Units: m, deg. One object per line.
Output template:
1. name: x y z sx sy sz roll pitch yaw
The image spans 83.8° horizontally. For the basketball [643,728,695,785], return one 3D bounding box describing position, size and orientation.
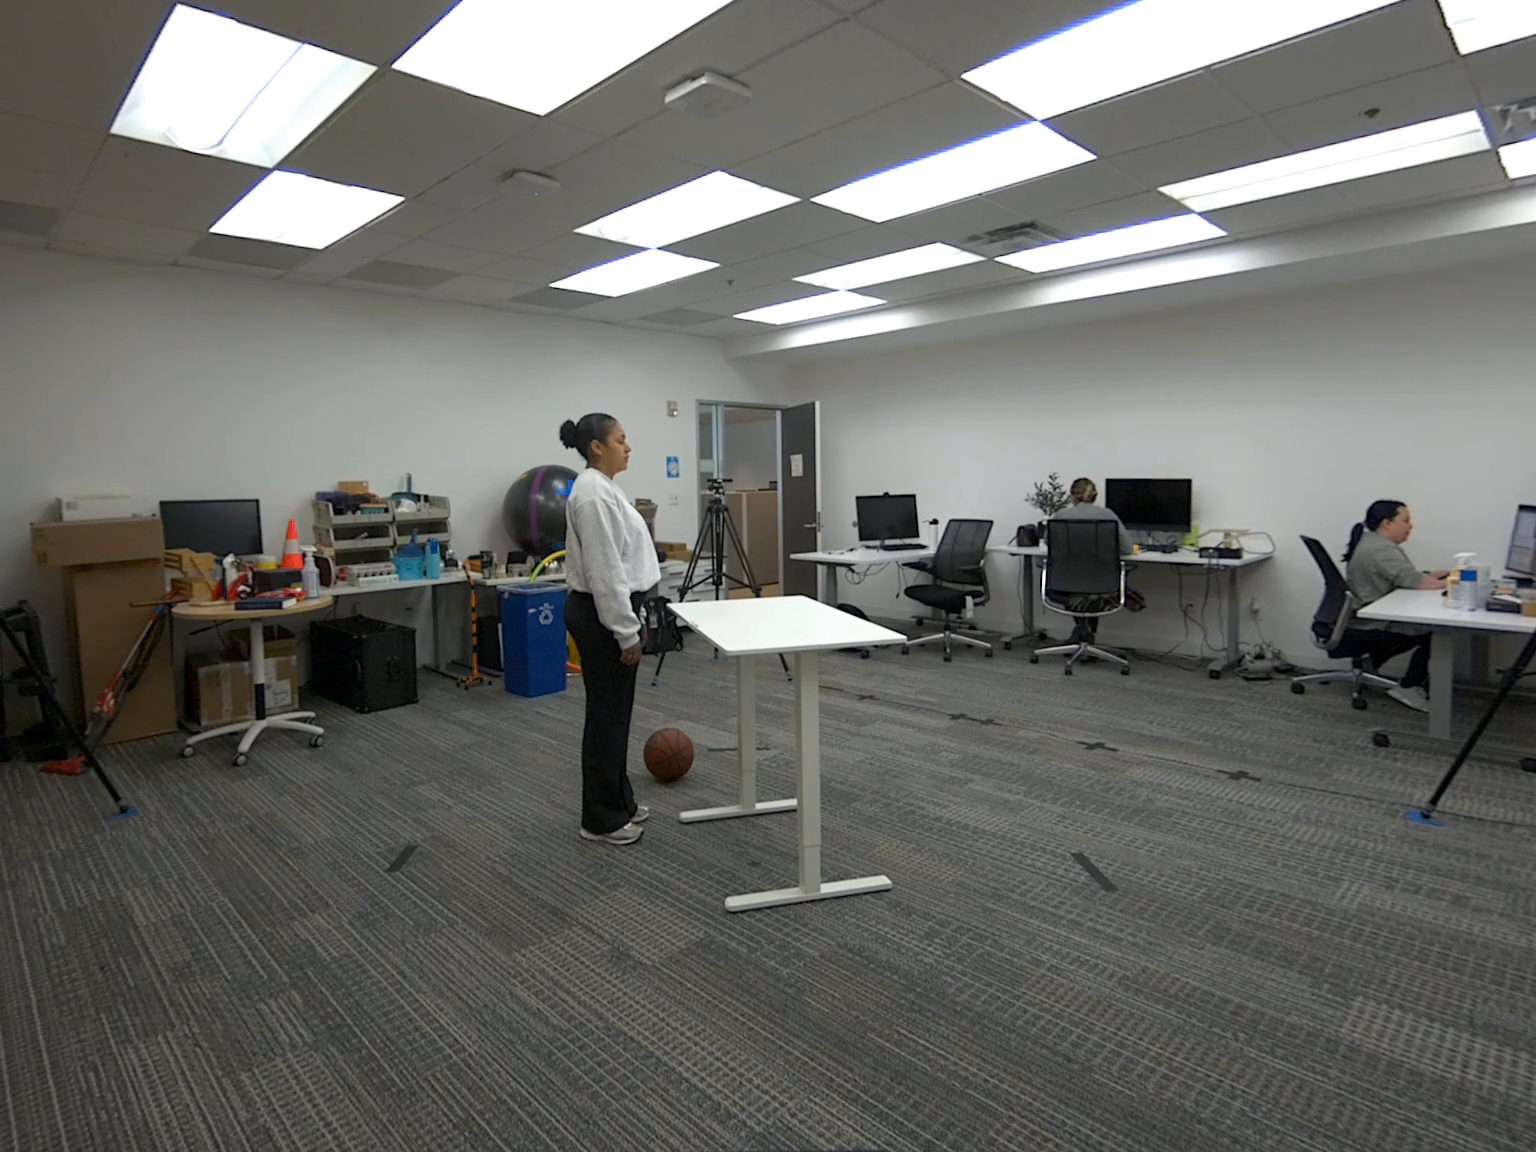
1. basketball: -0.466 0.833 4.005 0.236 0.235 0.237 -1 5 -2
